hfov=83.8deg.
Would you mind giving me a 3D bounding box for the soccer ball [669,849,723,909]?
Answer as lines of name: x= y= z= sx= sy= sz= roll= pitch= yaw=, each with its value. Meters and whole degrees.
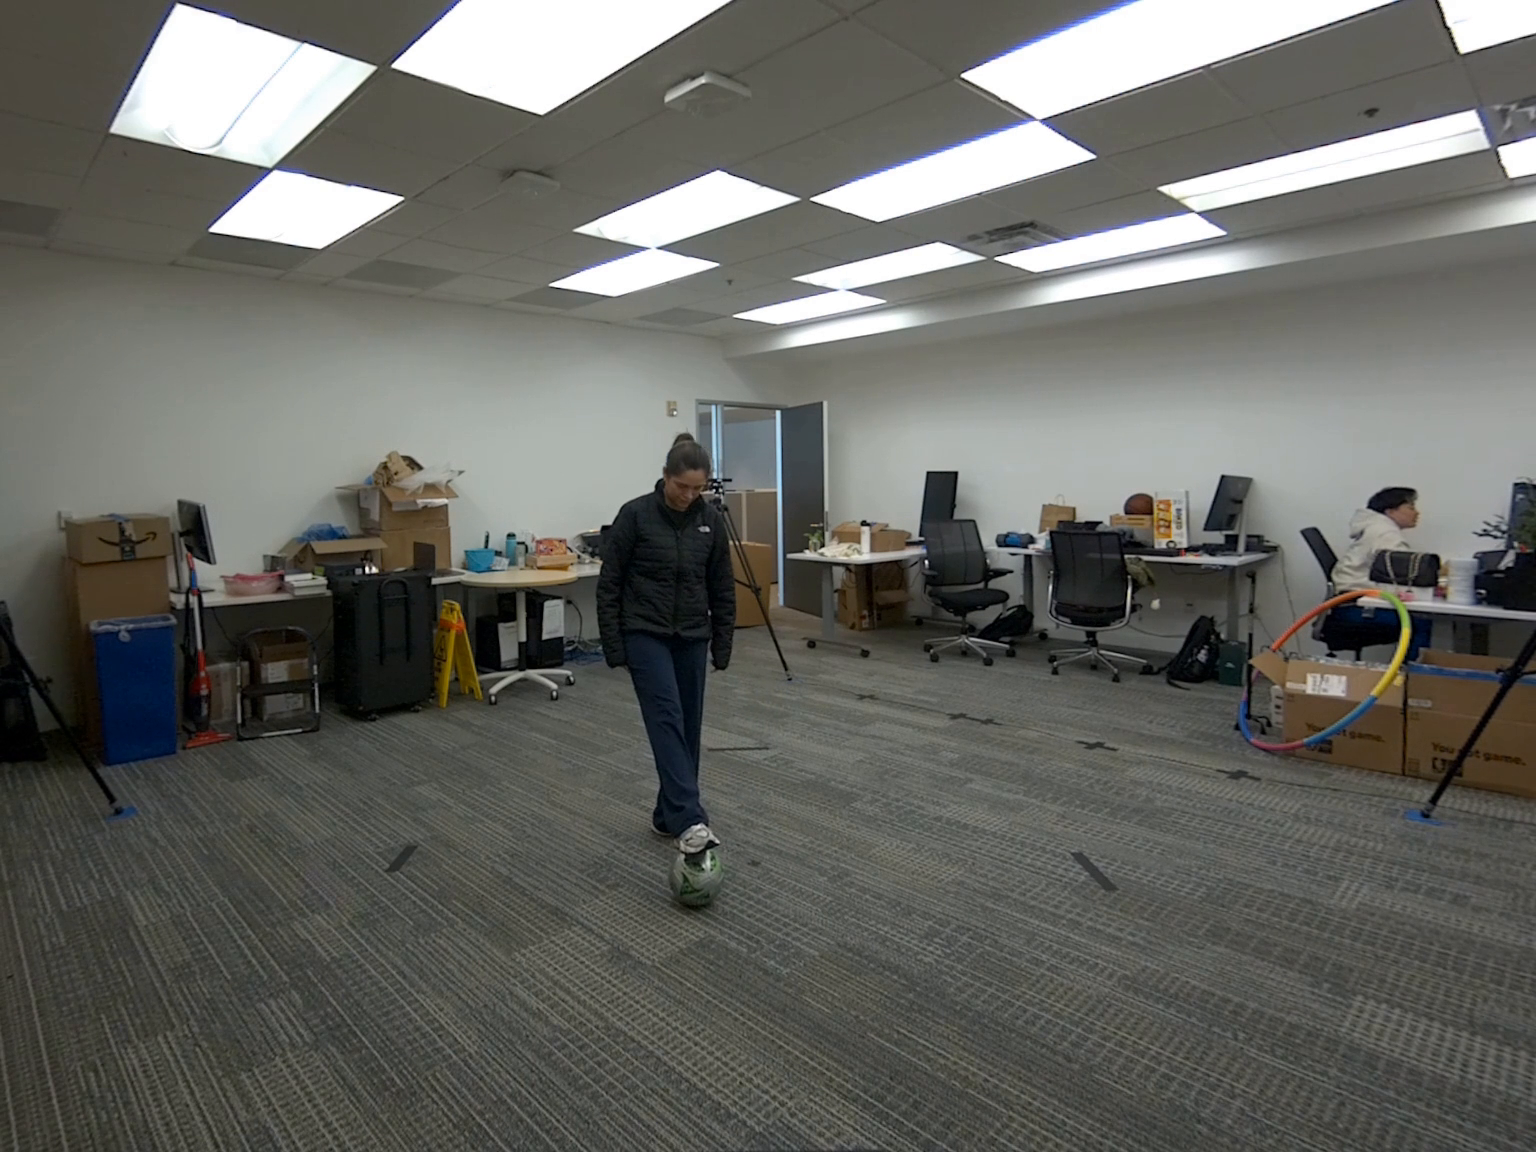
soccer ball: x=-0.236 y=0.989 z=2.823 sx=0.187 sy=0.187 sz=0.188 roll=-1 pitch=5 yaw=-2
